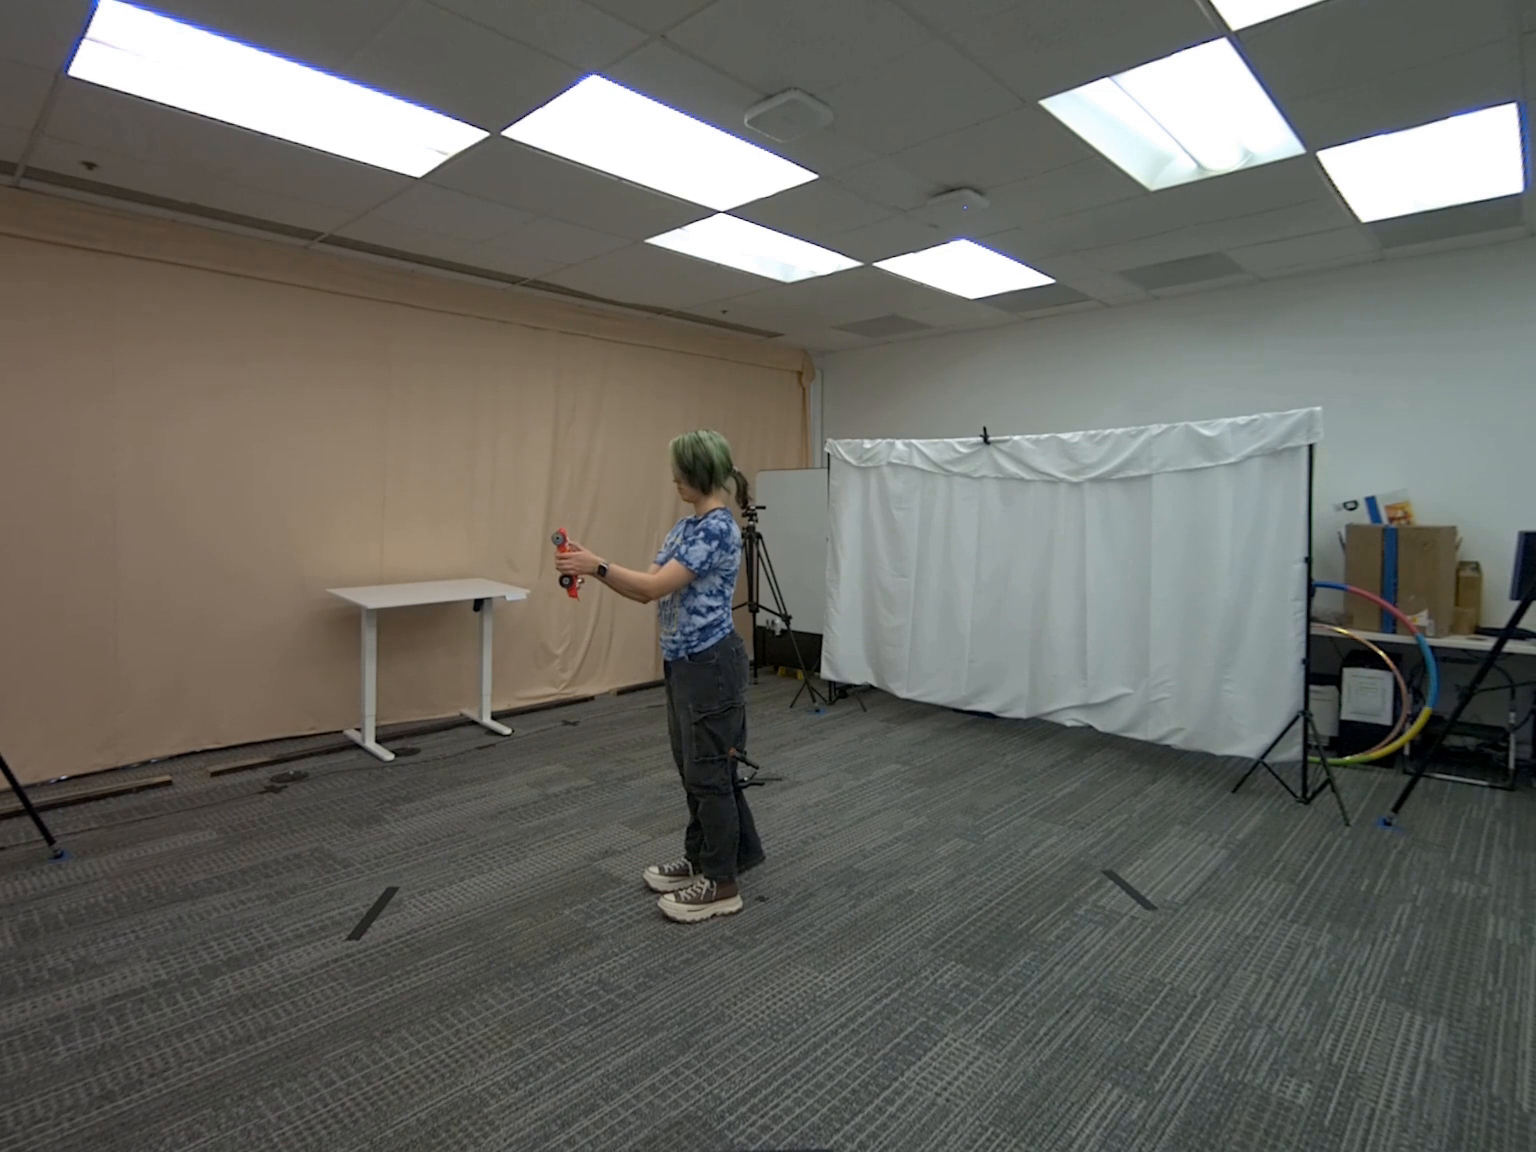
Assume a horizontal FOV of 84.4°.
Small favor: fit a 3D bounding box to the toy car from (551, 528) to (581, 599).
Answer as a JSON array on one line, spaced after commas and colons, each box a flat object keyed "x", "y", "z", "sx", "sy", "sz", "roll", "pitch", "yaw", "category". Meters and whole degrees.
[{"x": -0.691, "y": -0.034, "z": 2.877, "sx": 0.082, "sy": 0.254, "sz": 0.132, "roll": -21, "pitch": 3, "yaw": -10, "category": "toy car"}]
